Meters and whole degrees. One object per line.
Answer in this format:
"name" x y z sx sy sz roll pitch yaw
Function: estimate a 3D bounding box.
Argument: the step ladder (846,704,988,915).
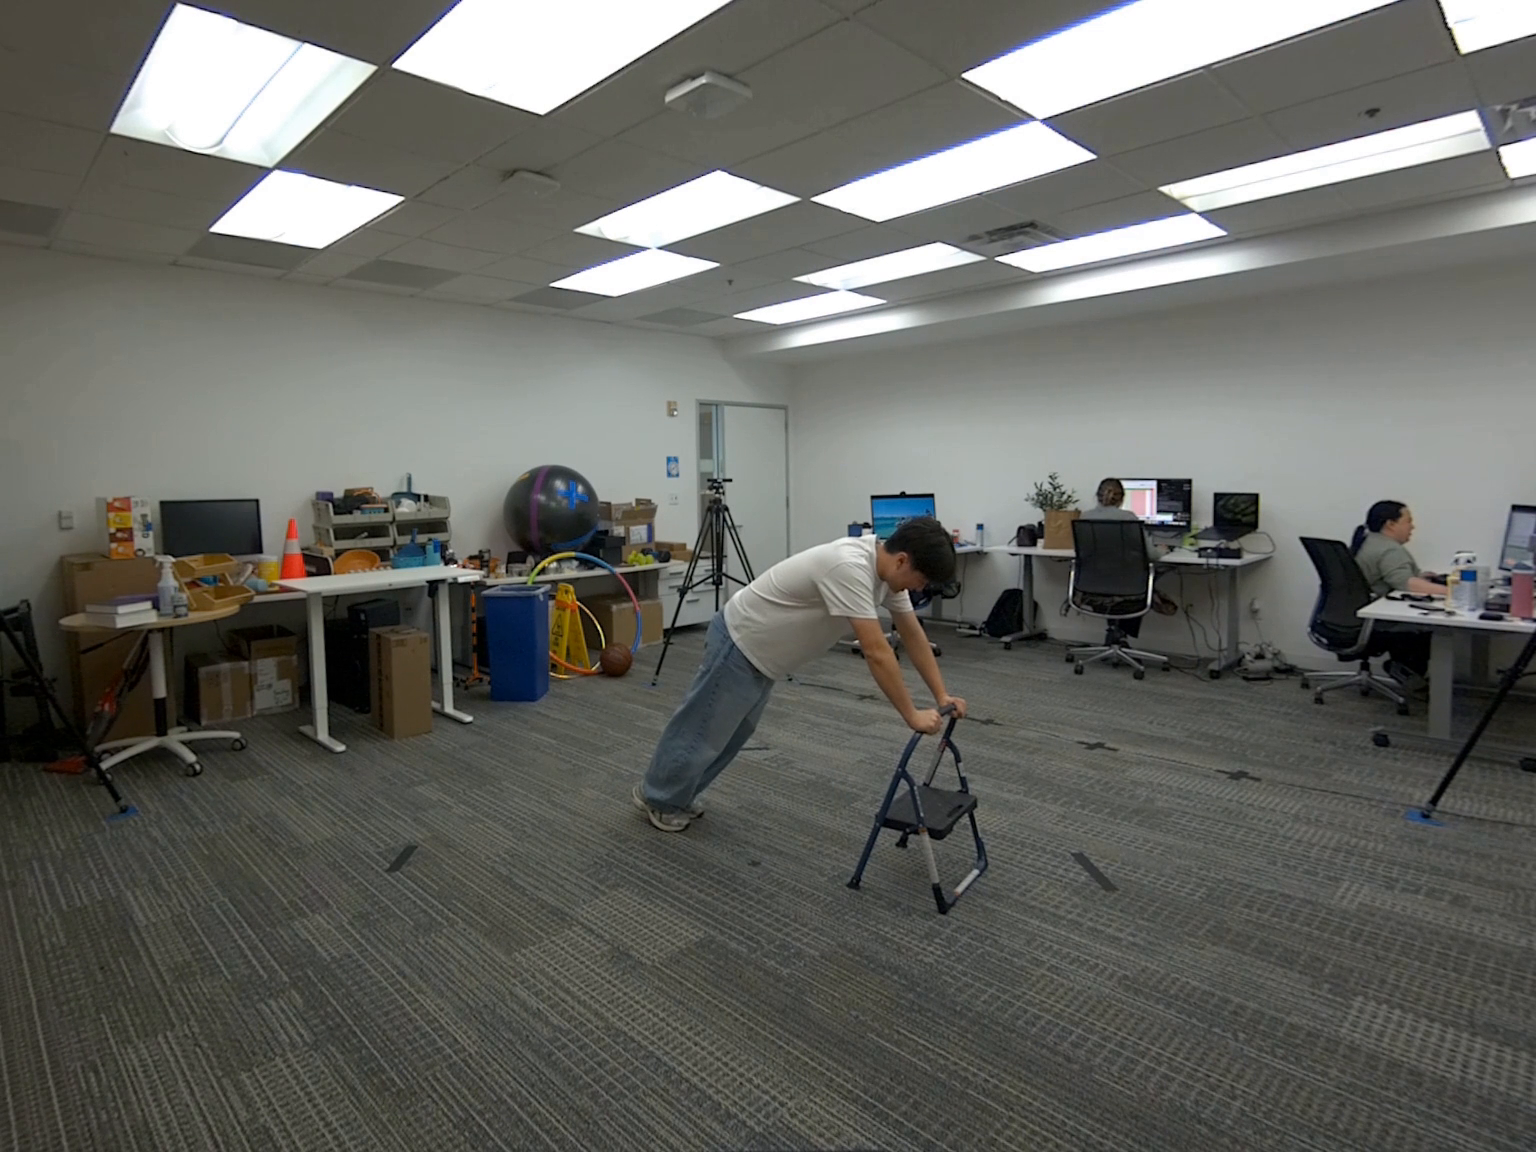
"step ladder" 0.531 0.749 2.957 0.359 0.604 0.420 2 6 33
